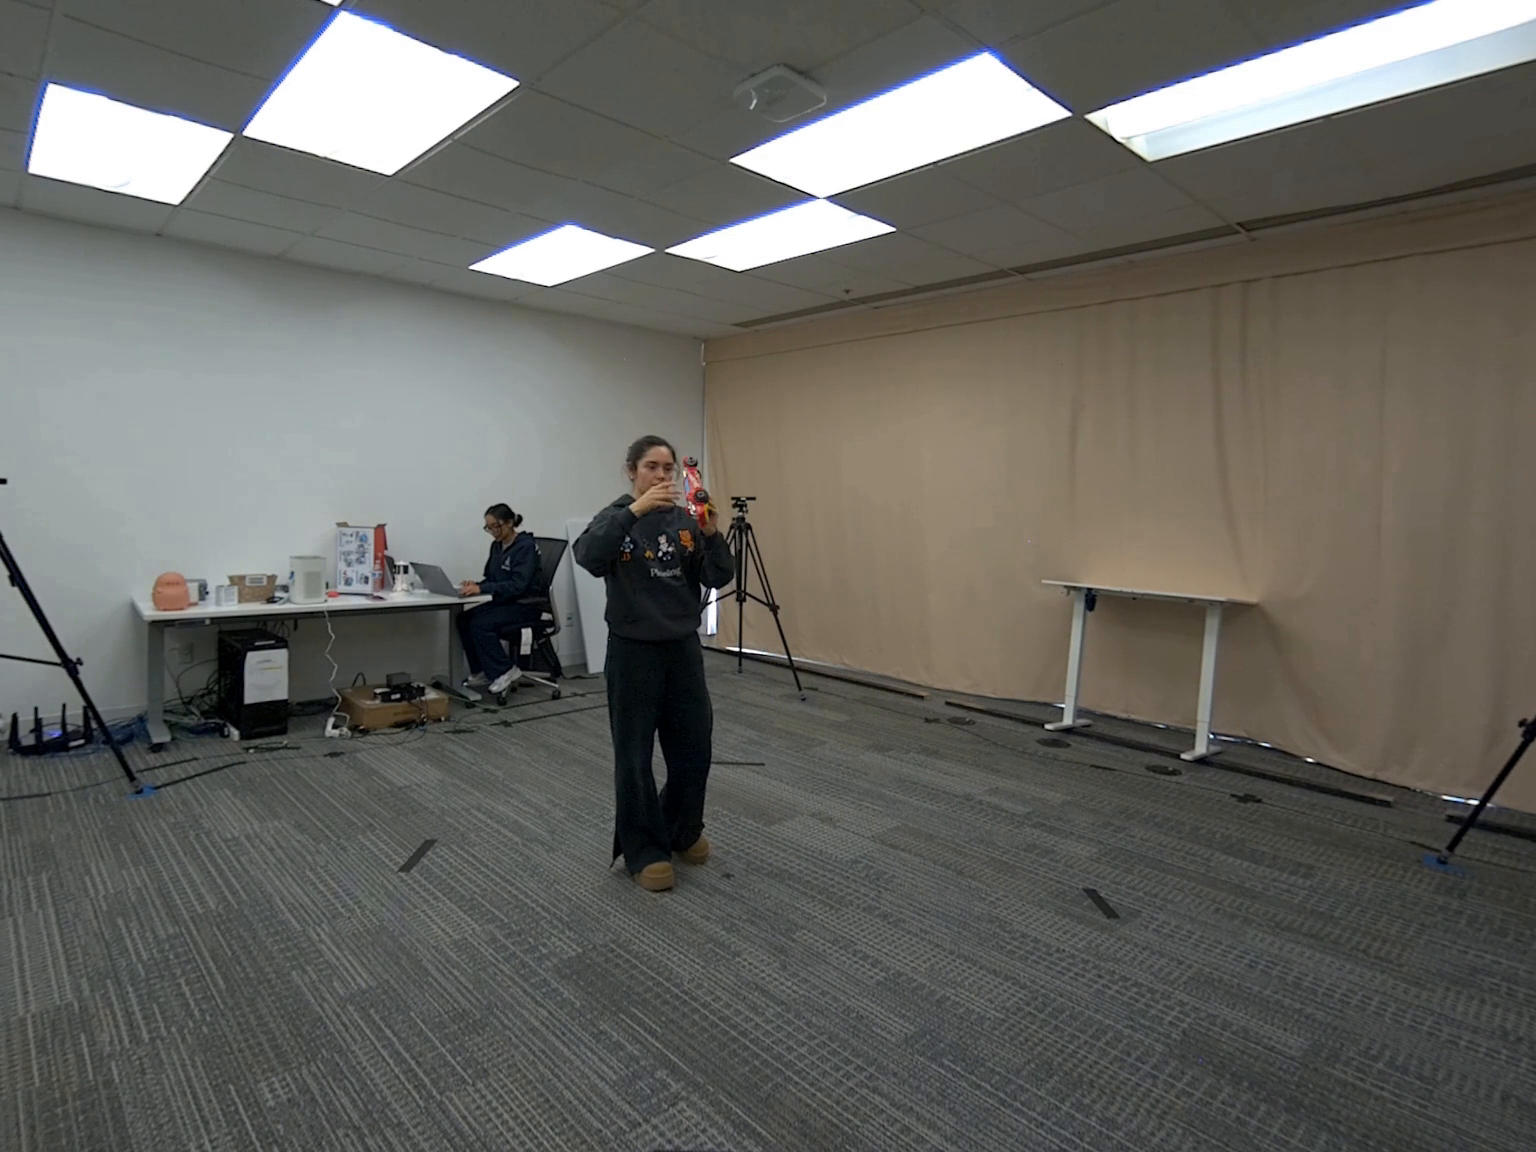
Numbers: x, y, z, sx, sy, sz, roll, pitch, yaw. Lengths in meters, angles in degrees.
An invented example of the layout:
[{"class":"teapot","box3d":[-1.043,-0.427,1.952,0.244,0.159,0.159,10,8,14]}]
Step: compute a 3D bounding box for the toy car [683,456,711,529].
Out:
[{"class":"toy car","box3d":[-0.251,-0.274,2.832,0.083,0.259,0.127,-4,-27,3]}]
